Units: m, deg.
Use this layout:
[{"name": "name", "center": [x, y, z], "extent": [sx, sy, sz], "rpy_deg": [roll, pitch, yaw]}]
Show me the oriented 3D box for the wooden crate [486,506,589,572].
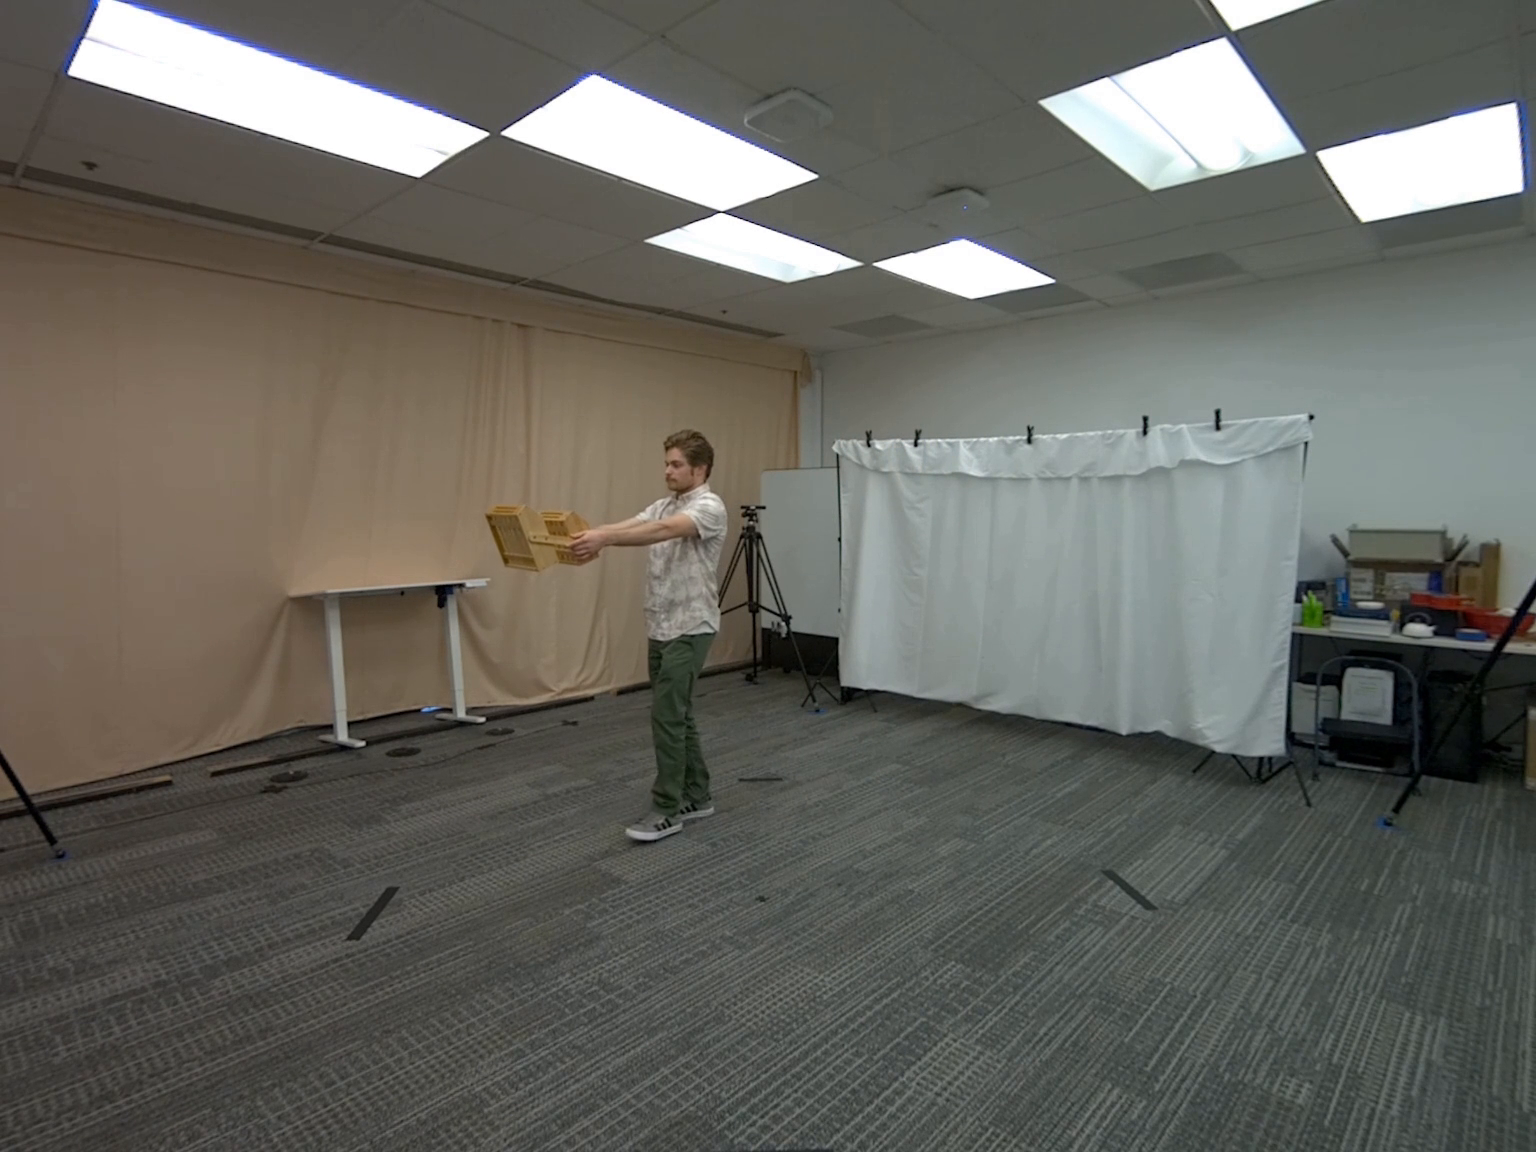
[{"name": "wooden crate", "center": [-0.885, -0.173, 3.287], "extent": [0.268, 0.297, 0.335], "rpy_deg": [-30, 21, -34]}]
